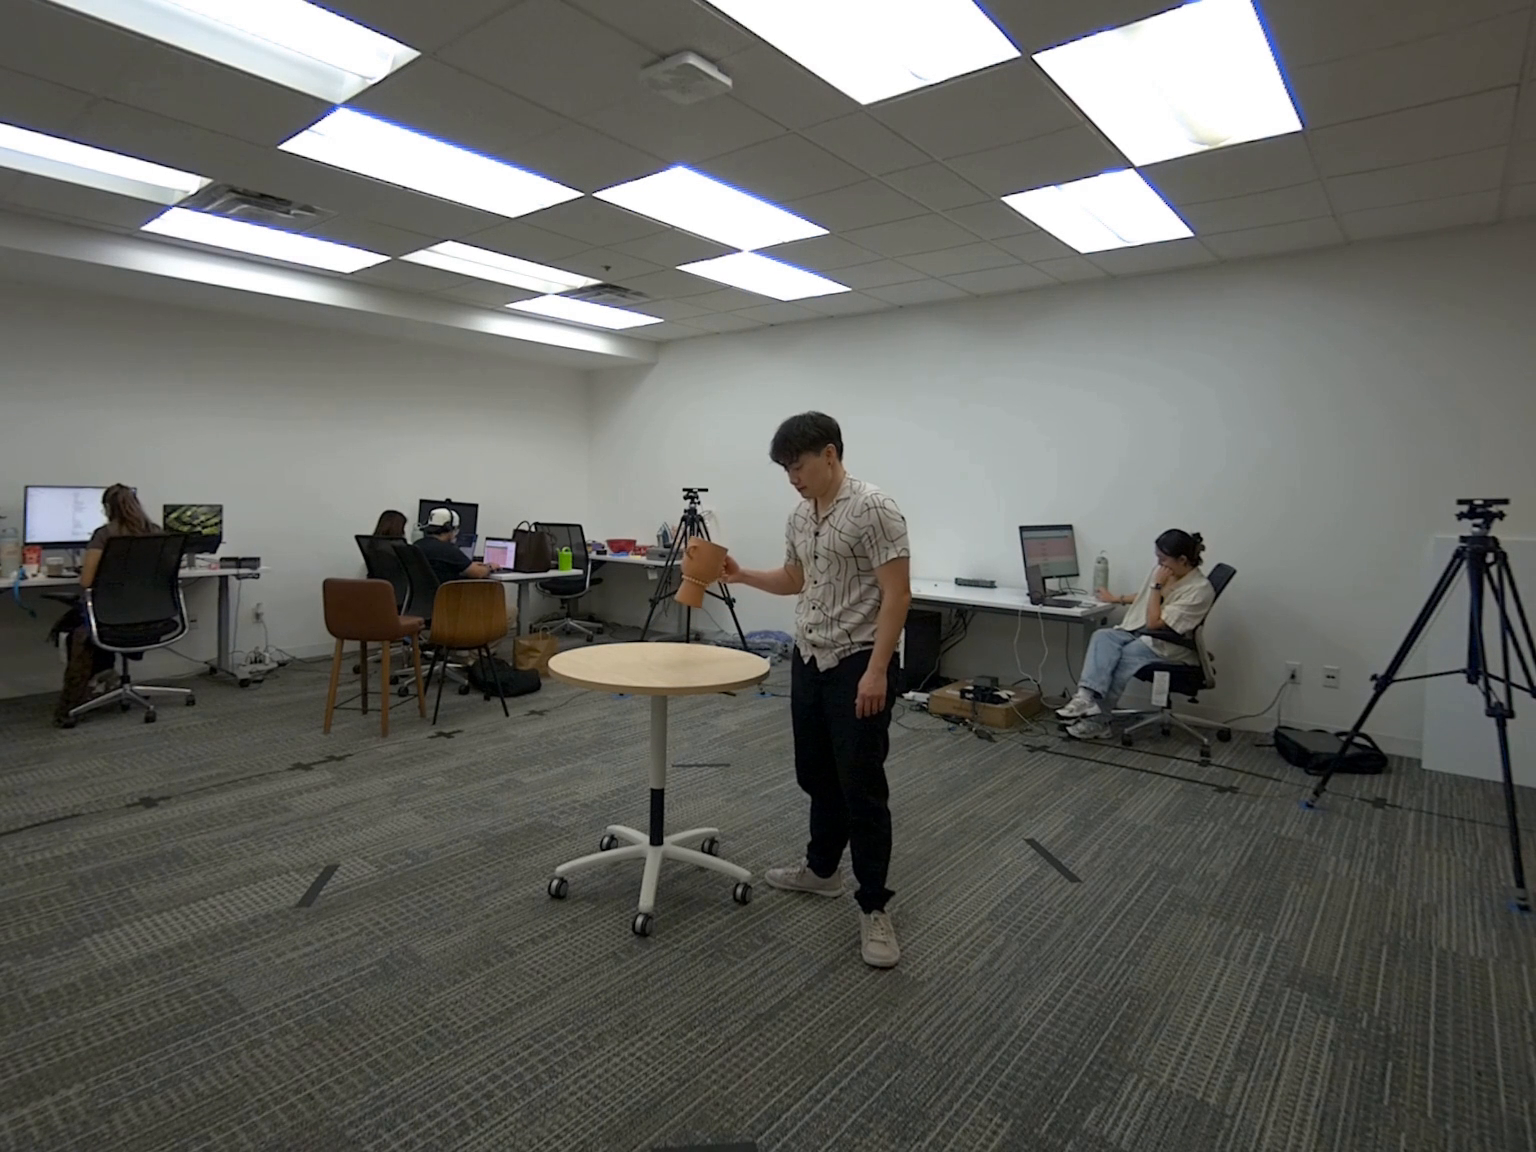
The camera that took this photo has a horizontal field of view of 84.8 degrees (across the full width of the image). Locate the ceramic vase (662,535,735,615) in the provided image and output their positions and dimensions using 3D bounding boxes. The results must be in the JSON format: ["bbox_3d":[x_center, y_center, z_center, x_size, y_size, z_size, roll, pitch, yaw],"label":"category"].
[{"bbox_3d":[-0.237,-0.006,2.827,0.156,0.220,0.137,18,-3,-16],"label":"ceramic vase"}]
